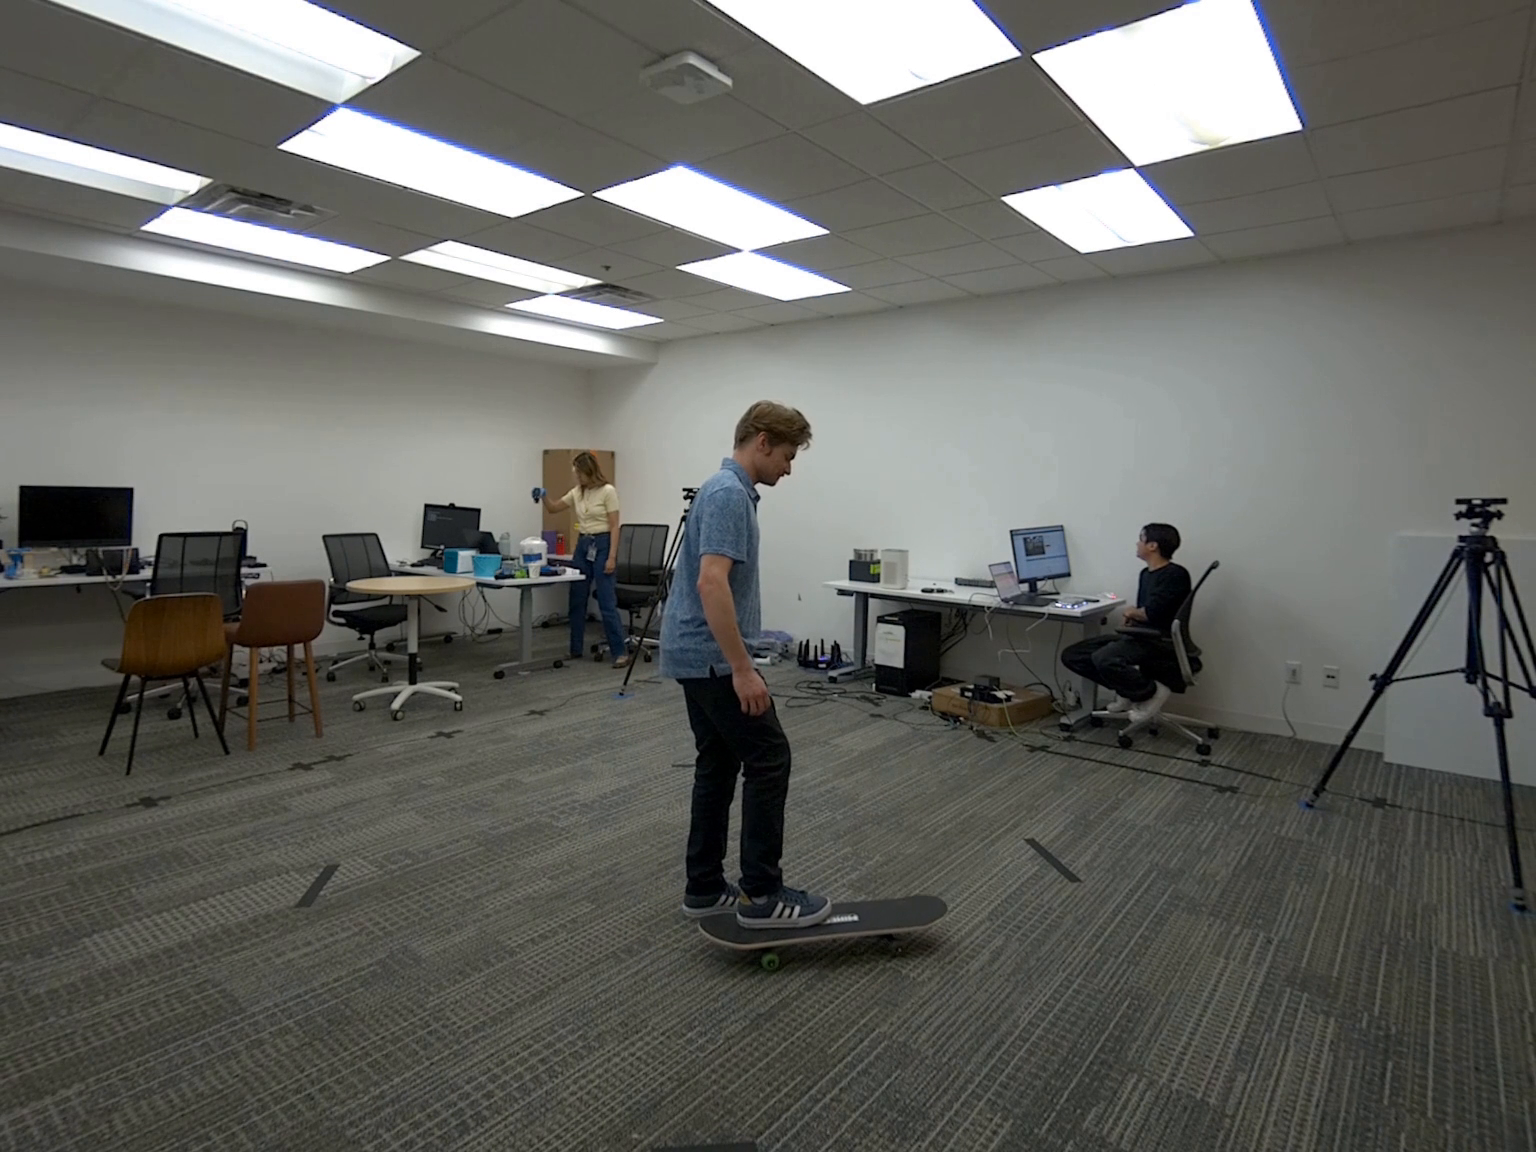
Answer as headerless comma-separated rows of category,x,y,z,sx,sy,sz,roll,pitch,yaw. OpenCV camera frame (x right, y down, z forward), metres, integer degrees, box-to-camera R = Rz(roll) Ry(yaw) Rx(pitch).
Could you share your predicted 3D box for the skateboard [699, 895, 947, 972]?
skateboard,0.167,1.070,2.588,0.774,0.110,0.197,0,4,-13
